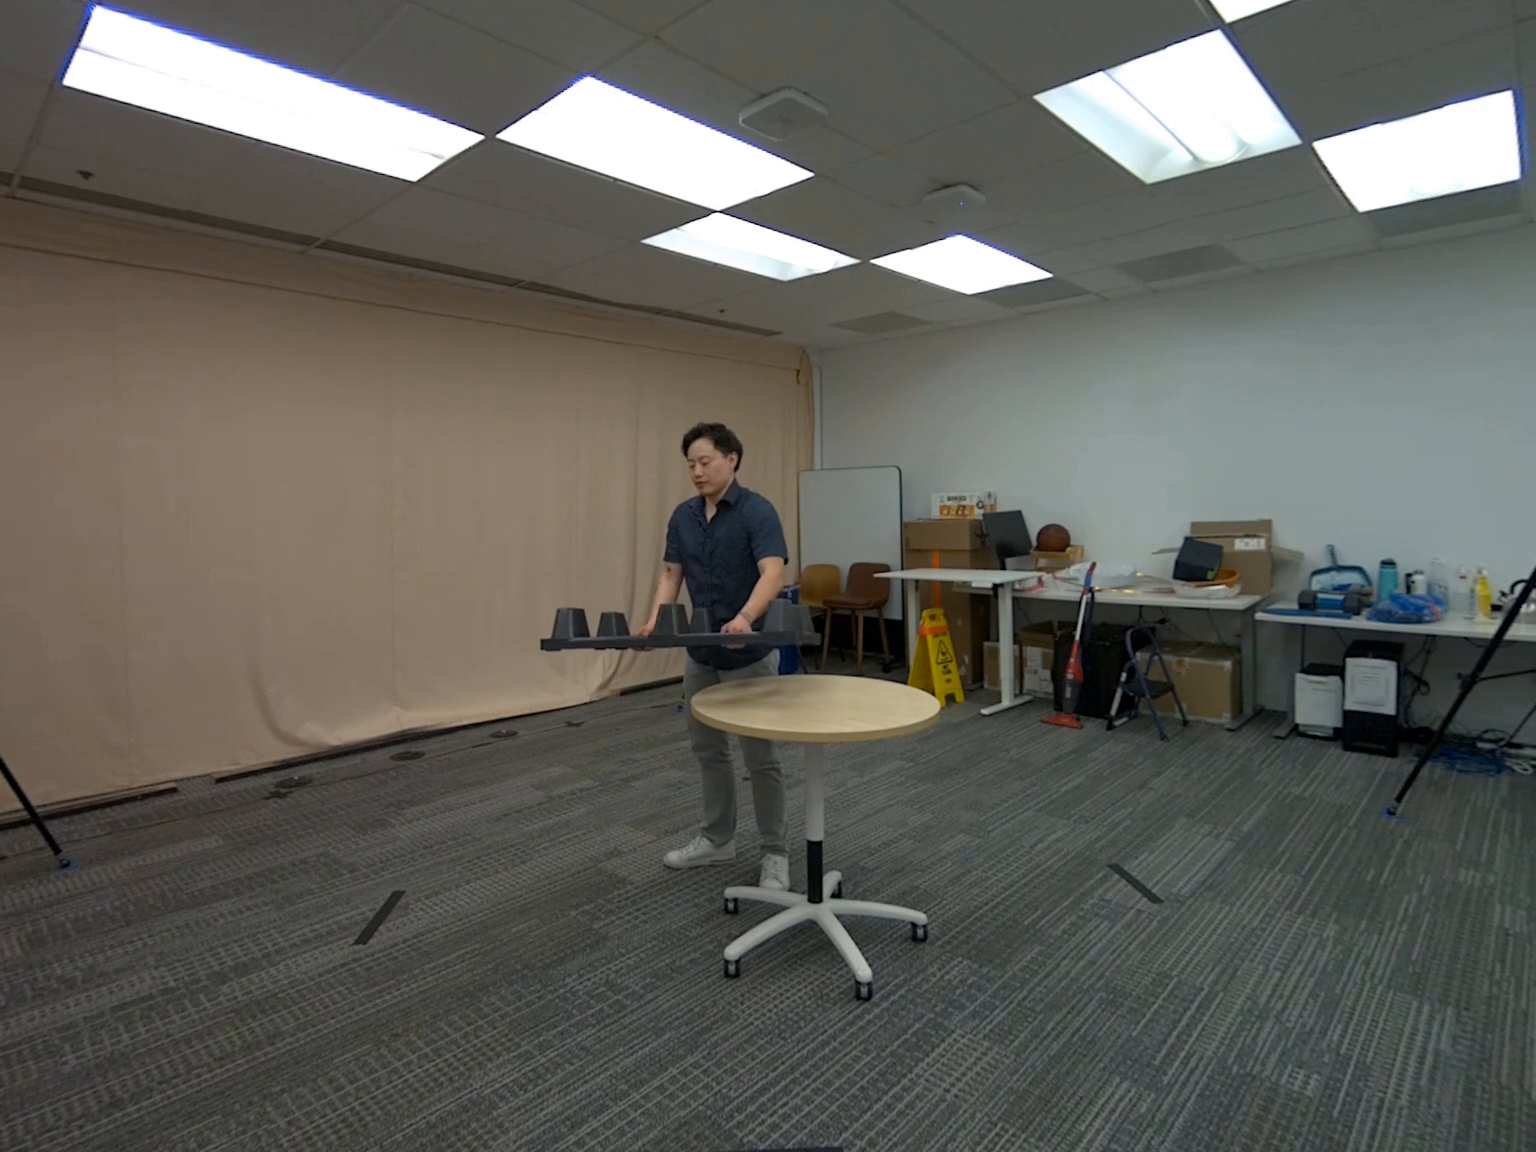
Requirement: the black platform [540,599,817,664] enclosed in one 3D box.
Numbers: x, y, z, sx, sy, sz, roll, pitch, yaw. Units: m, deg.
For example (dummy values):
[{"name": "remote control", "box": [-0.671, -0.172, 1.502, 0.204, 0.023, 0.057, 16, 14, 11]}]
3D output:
[{"name": "black platform", "box": [-0.262, 0.175, 2.782, 0.817, 0.144, 0.594, -3, -6, 13]}]
